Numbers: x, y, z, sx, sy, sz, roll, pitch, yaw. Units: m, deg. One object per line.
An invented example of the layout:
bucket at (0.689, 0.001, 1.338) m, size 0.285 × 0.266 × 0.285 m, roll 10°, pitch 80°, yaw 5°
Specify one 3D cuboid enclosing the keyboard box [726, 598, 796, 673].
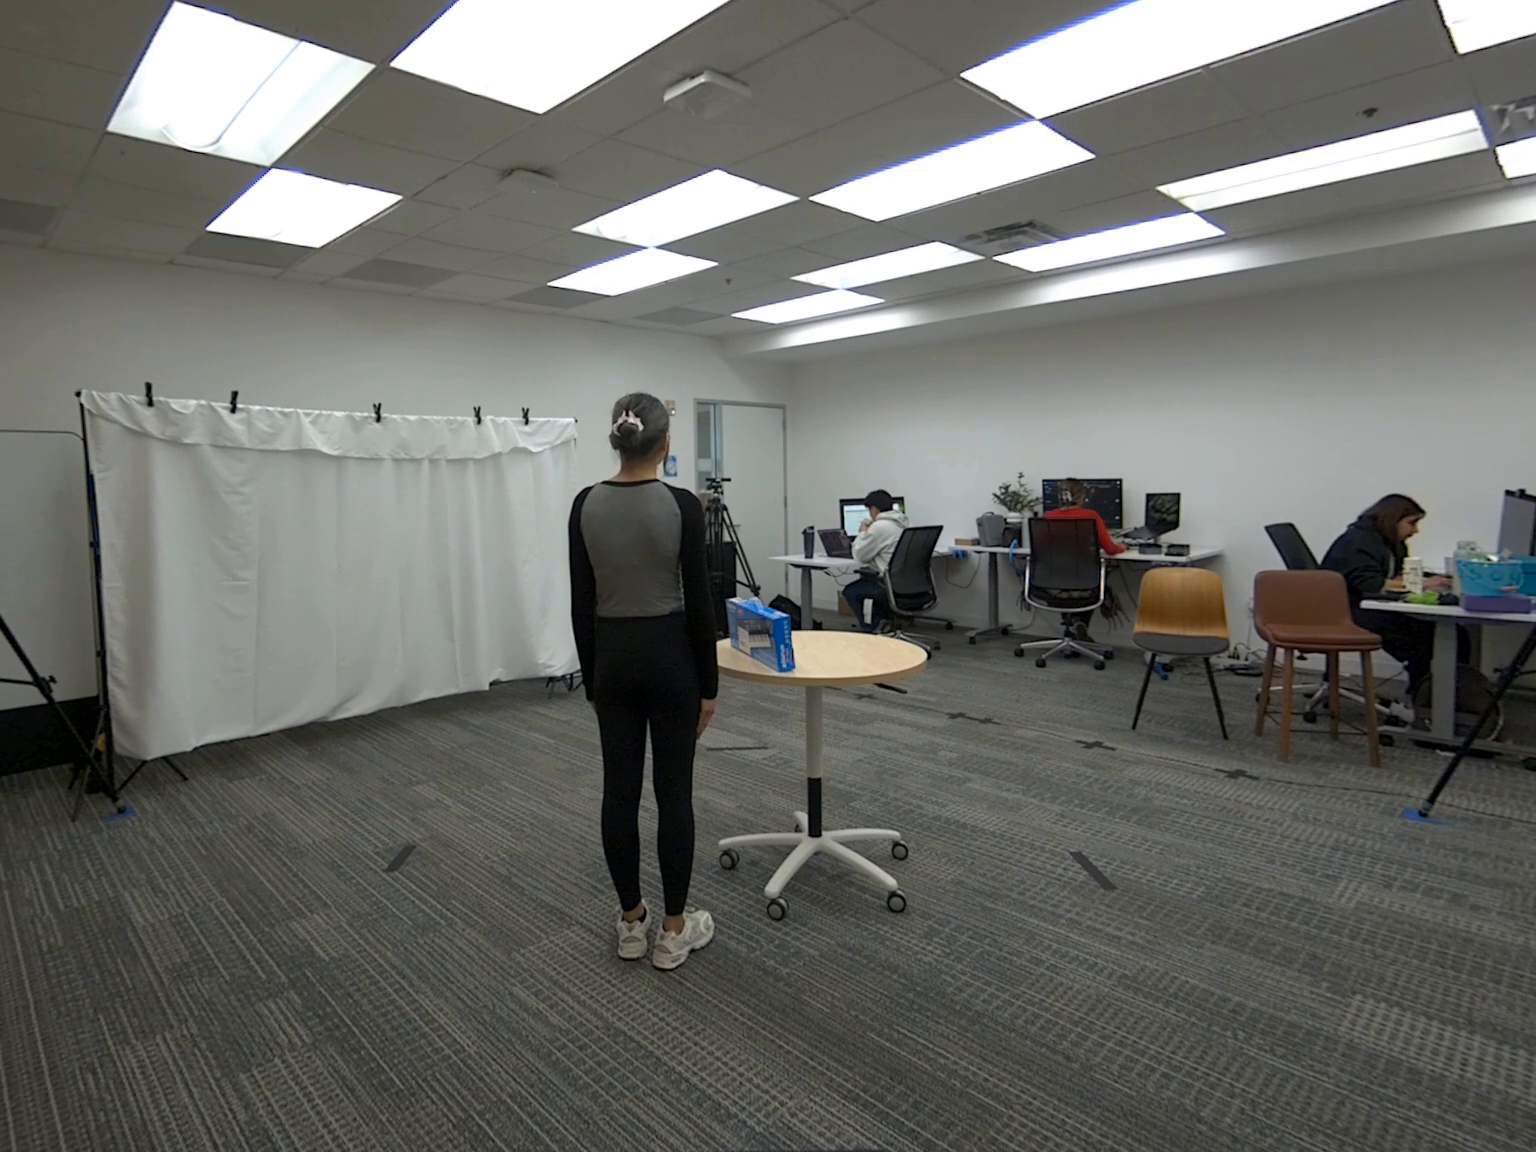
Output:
keyboard box at (-0.029, 0.190, 2.851) m, size 0.058 × 0.175 × 0.447 m, roll -8°, pitch 9°, yaw -20°
